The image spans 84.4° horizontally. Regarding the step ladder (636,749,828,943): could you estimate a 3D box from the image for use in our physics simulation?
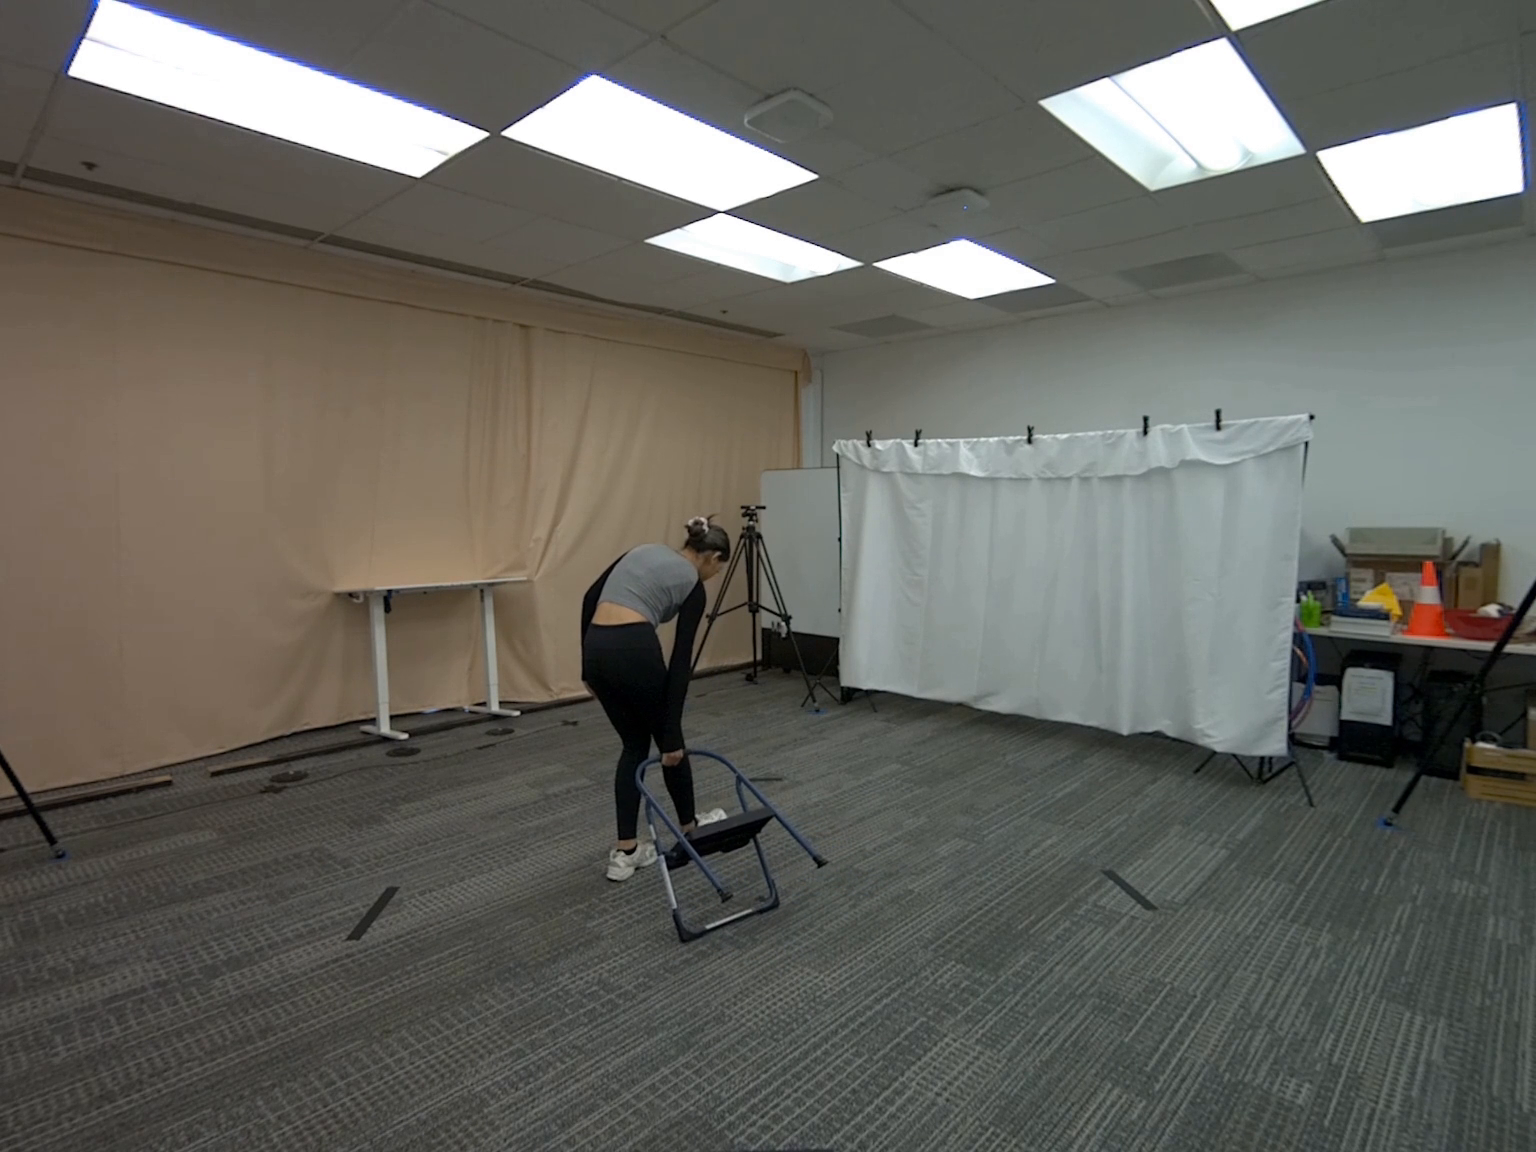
[{"bbox_3d":[-0.174,0.828,2.861,0.417,0.624,0.350,-3,-41,-40],"label":"step ladder"}]
